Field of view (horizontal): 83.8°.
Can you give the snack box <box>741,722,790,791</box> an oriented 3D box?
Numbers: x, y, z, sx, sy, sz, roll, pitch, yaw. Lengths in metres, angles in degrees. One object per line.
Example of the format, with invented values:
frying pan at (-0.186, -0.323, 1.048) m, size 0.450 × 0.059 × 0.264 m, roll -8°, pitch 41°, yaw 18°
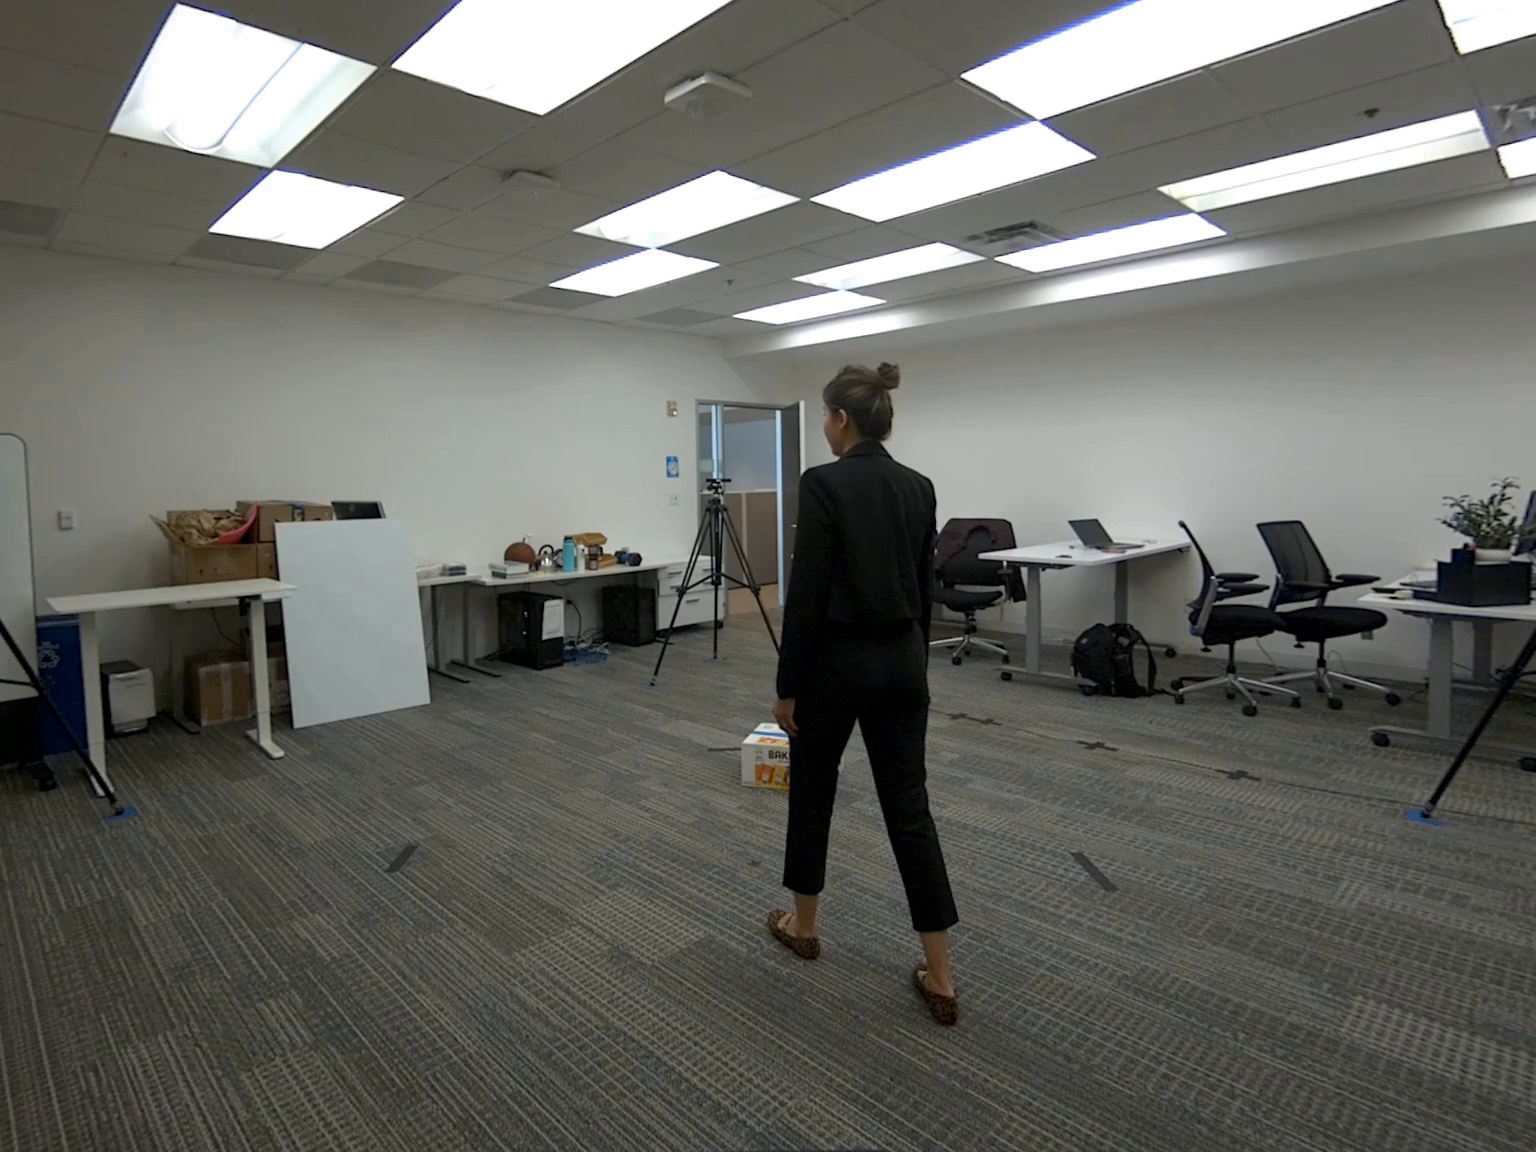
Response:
snack box at (0.120, 0.842, 3.984) m, size 0.412 × 0.205 × 0.336 m, roll 0°, pitch 6°, yaw 16°
